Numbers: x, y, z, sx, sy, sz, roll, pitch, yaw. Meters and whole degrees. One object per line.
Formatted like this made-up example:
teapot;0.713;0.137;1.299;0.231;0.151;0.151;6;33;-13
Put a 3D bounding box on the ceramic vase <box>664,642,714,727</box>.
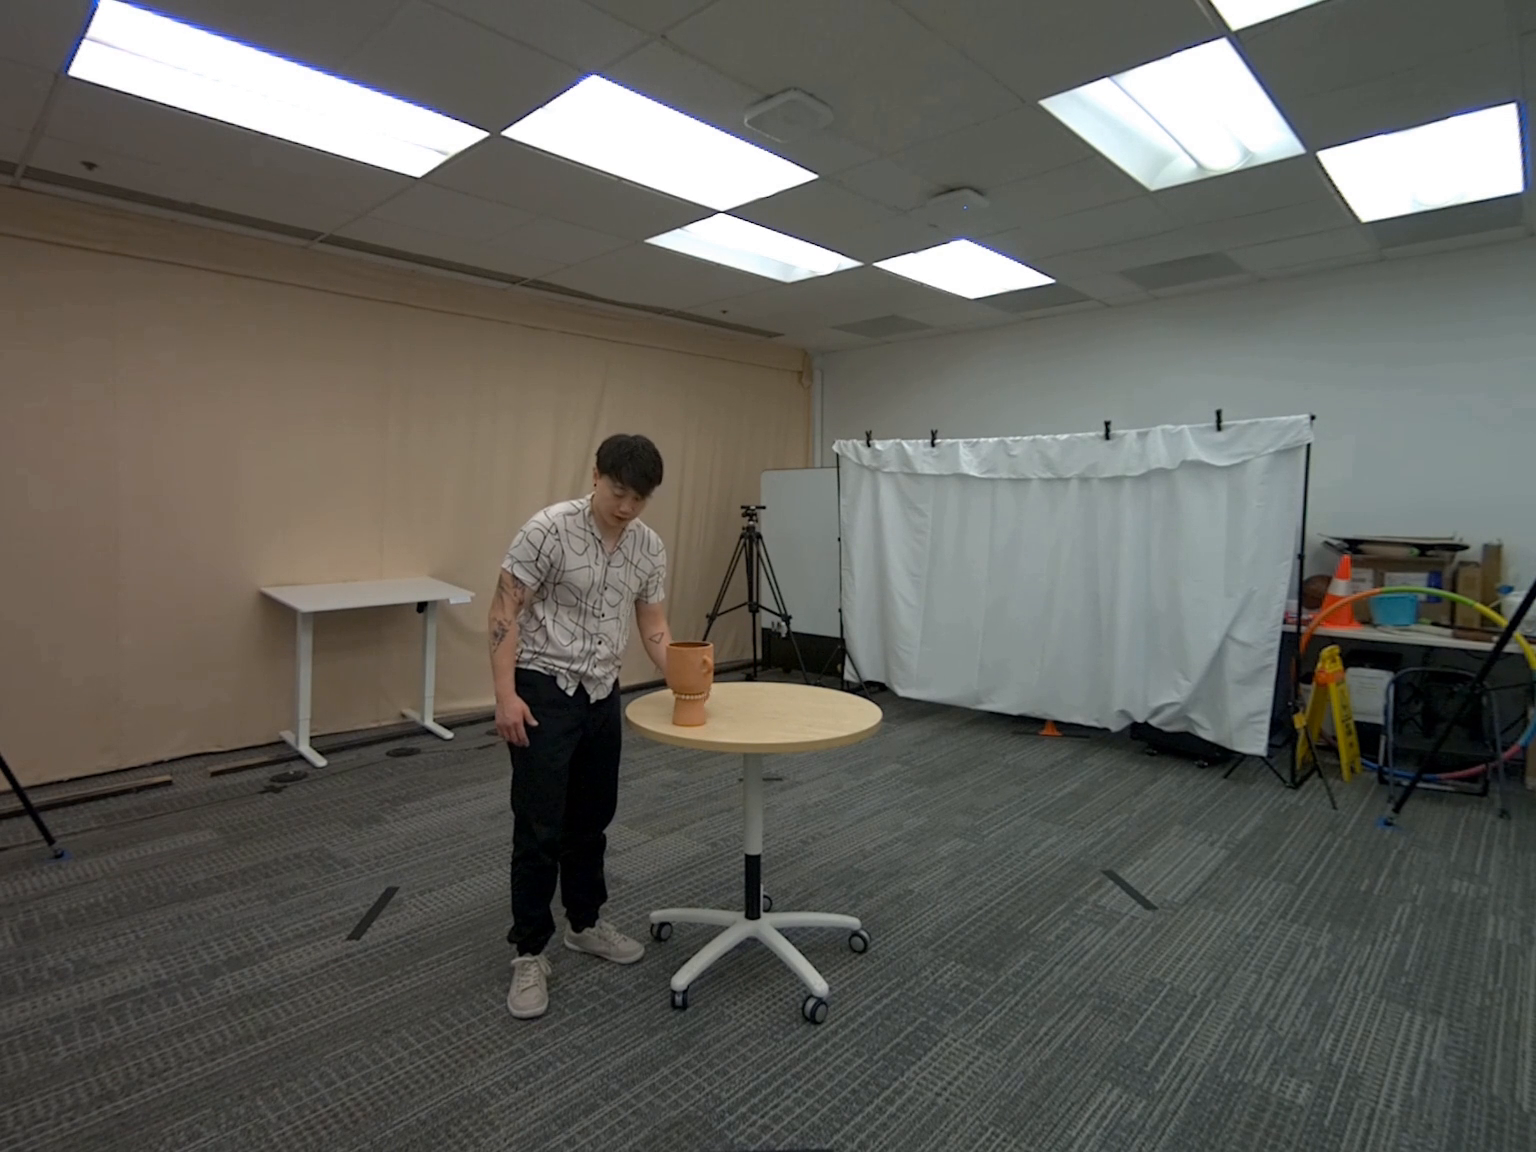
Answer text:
ceramic vase;-0.218;0.305;2.343;0.134;0.219;0.159;0;5;-2
